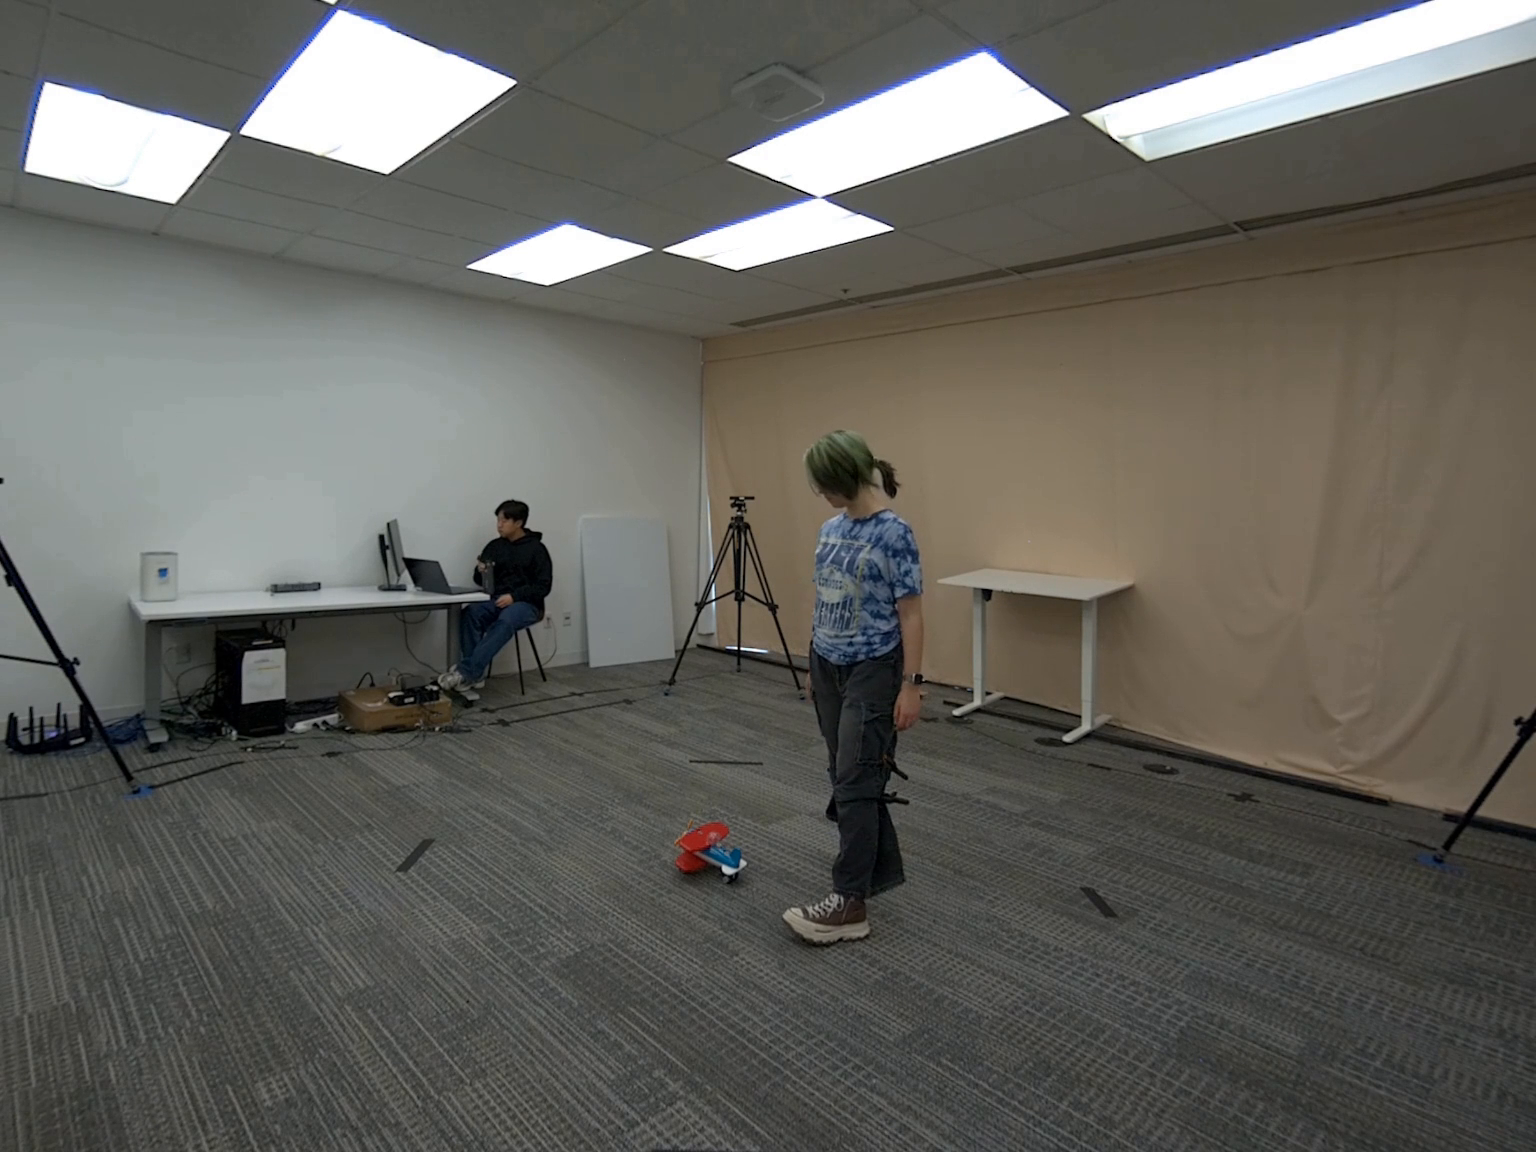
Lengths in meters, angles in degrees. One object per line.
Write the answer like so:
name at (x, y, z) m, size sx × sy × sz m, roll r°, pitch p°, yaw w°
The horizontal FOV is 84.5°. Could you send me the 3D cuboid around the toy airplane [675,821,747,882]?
toy airplane at (-0.209, 1.022, 3.116) m, size 0.260 × 0.156 × 0.250 m, roll 1°, pitch 5°, yaw 5°
